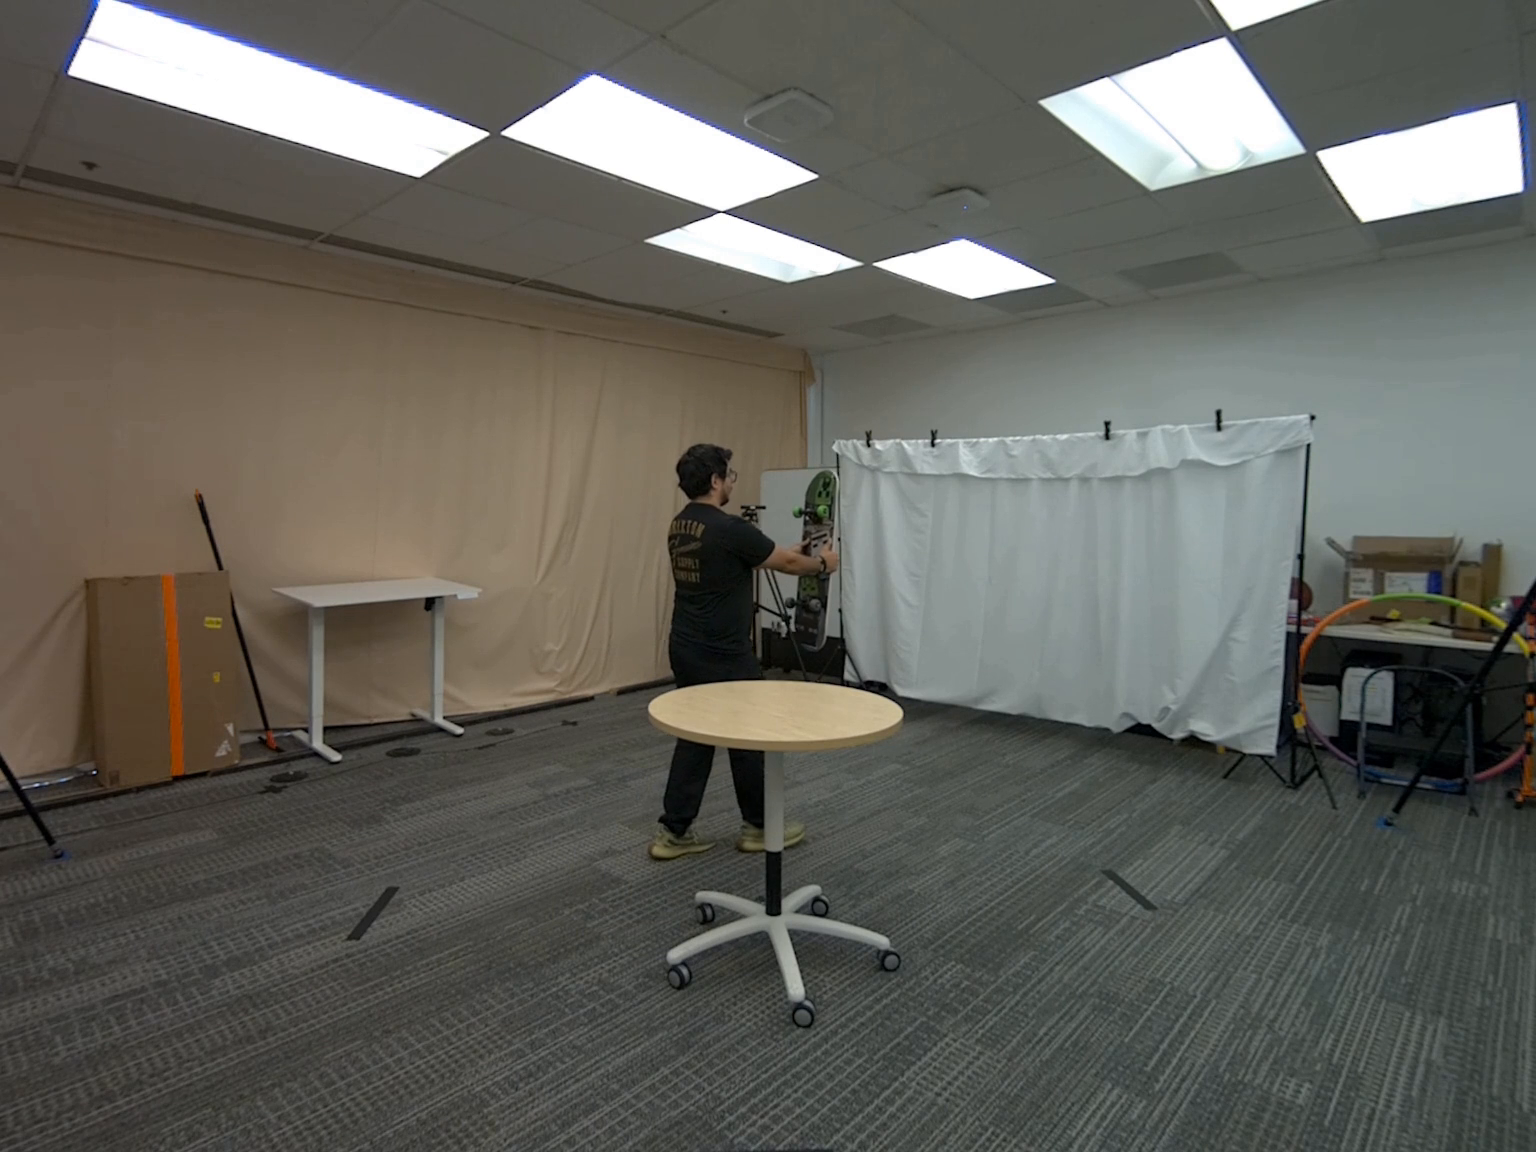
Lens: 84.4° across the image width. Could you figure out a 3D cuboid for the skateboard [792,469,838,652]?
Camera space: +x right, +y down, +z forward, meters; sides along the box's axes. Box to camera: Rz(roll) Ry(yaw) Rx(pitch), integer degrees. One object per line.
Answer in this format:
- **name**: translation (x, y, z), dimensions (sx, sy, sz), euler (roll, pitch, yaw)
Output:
- **skateboard**: translation (0.190, -0.073, 3.631), dimensions (0.106, 0.787, 0.200), euler (8, -5, -41)
